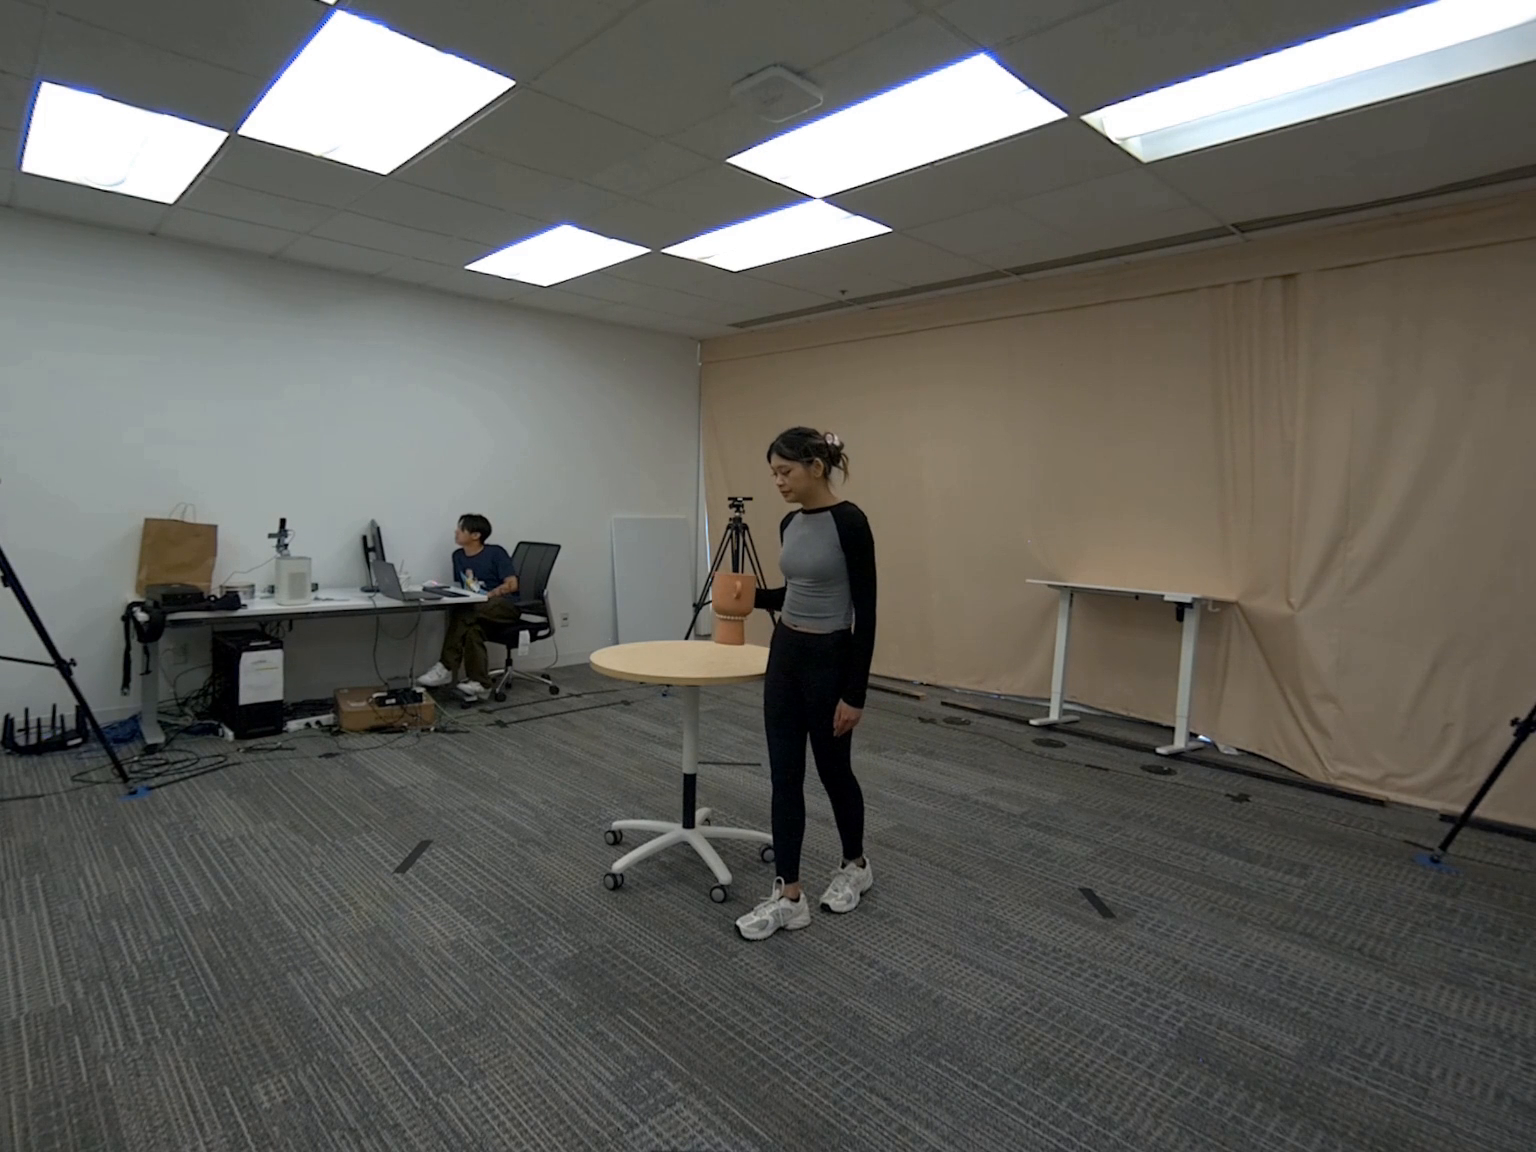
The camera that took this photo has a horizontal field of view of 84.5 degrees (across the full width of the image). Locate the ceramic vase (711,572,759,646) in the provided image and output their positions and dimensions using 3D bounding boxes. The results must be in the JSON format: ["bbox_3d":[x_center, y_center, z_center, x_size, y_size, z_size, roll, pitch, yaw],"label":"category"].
[{"bbox_3d":[-0.104,0.101,2.635,0.137,0.220,0.155,5,1,28],"label":"ceramic vase"}]
